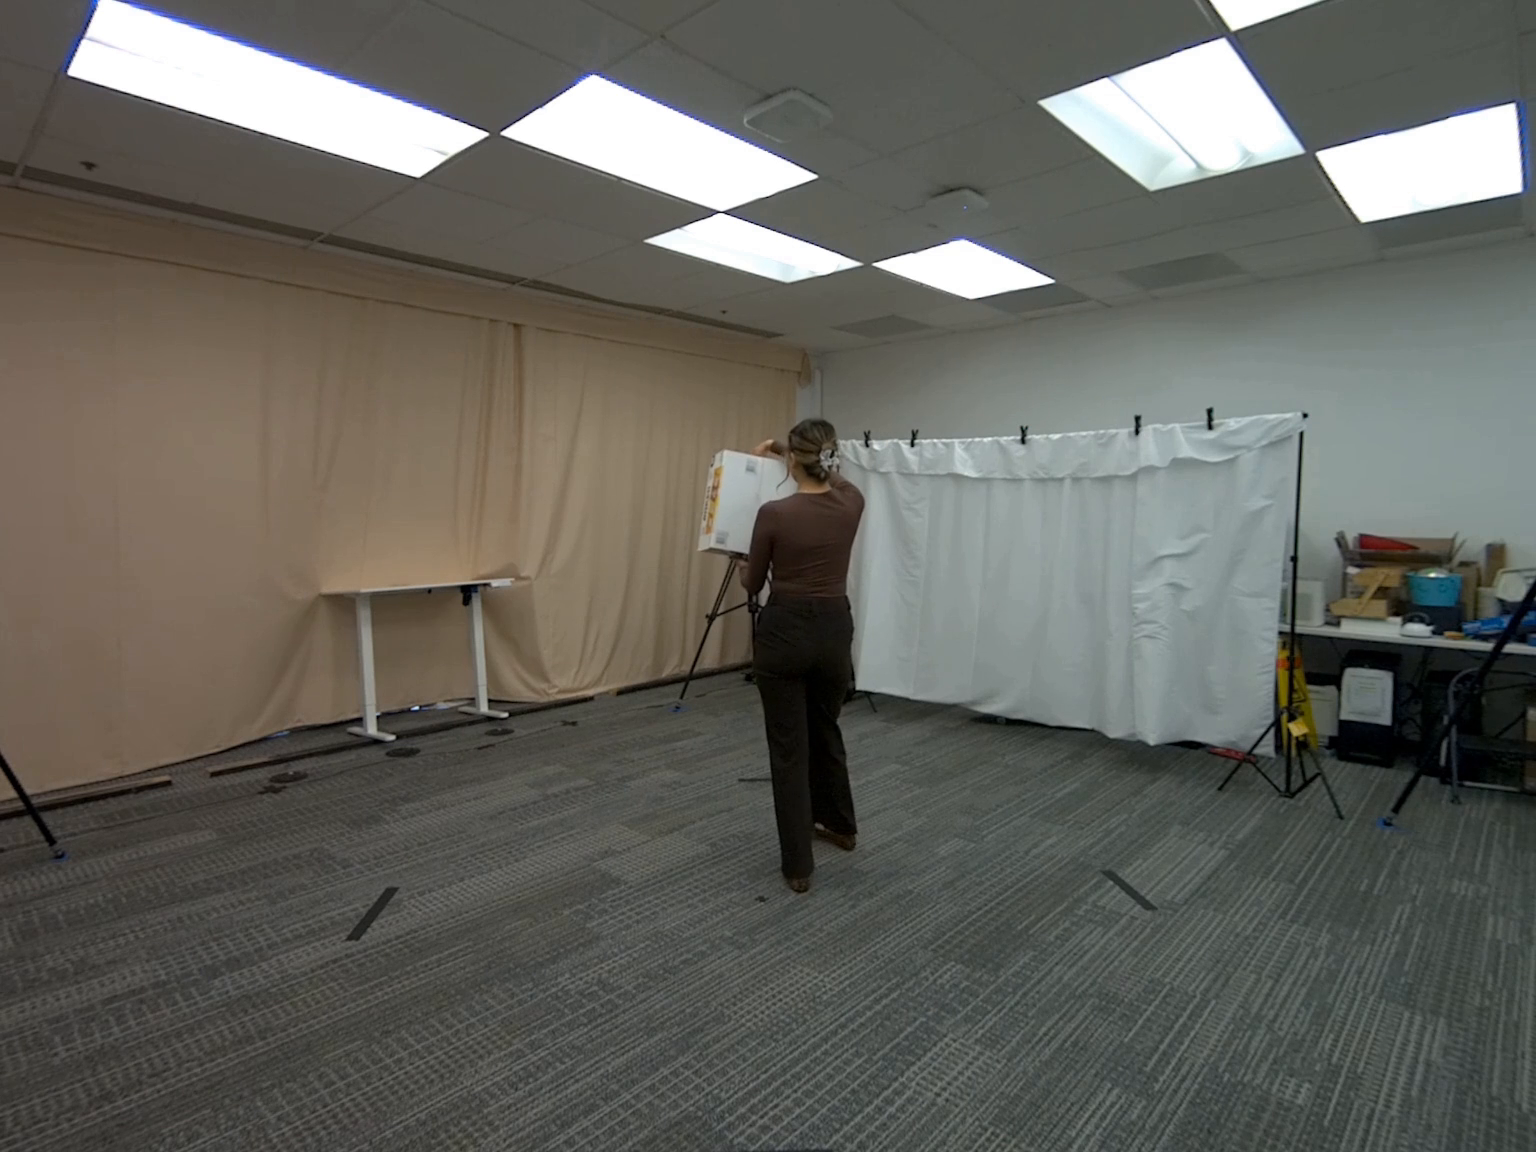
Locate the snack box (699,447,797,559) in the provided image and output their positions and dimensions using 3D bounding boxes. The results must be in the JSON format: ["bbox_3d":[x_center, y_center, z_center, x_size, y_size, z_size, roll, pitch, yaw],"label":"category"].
[{"bbox_3d":[-0.072,-0.285,3.491,0.335,0.406,0.208,9,-6,-14],"label":"snack box"}]
